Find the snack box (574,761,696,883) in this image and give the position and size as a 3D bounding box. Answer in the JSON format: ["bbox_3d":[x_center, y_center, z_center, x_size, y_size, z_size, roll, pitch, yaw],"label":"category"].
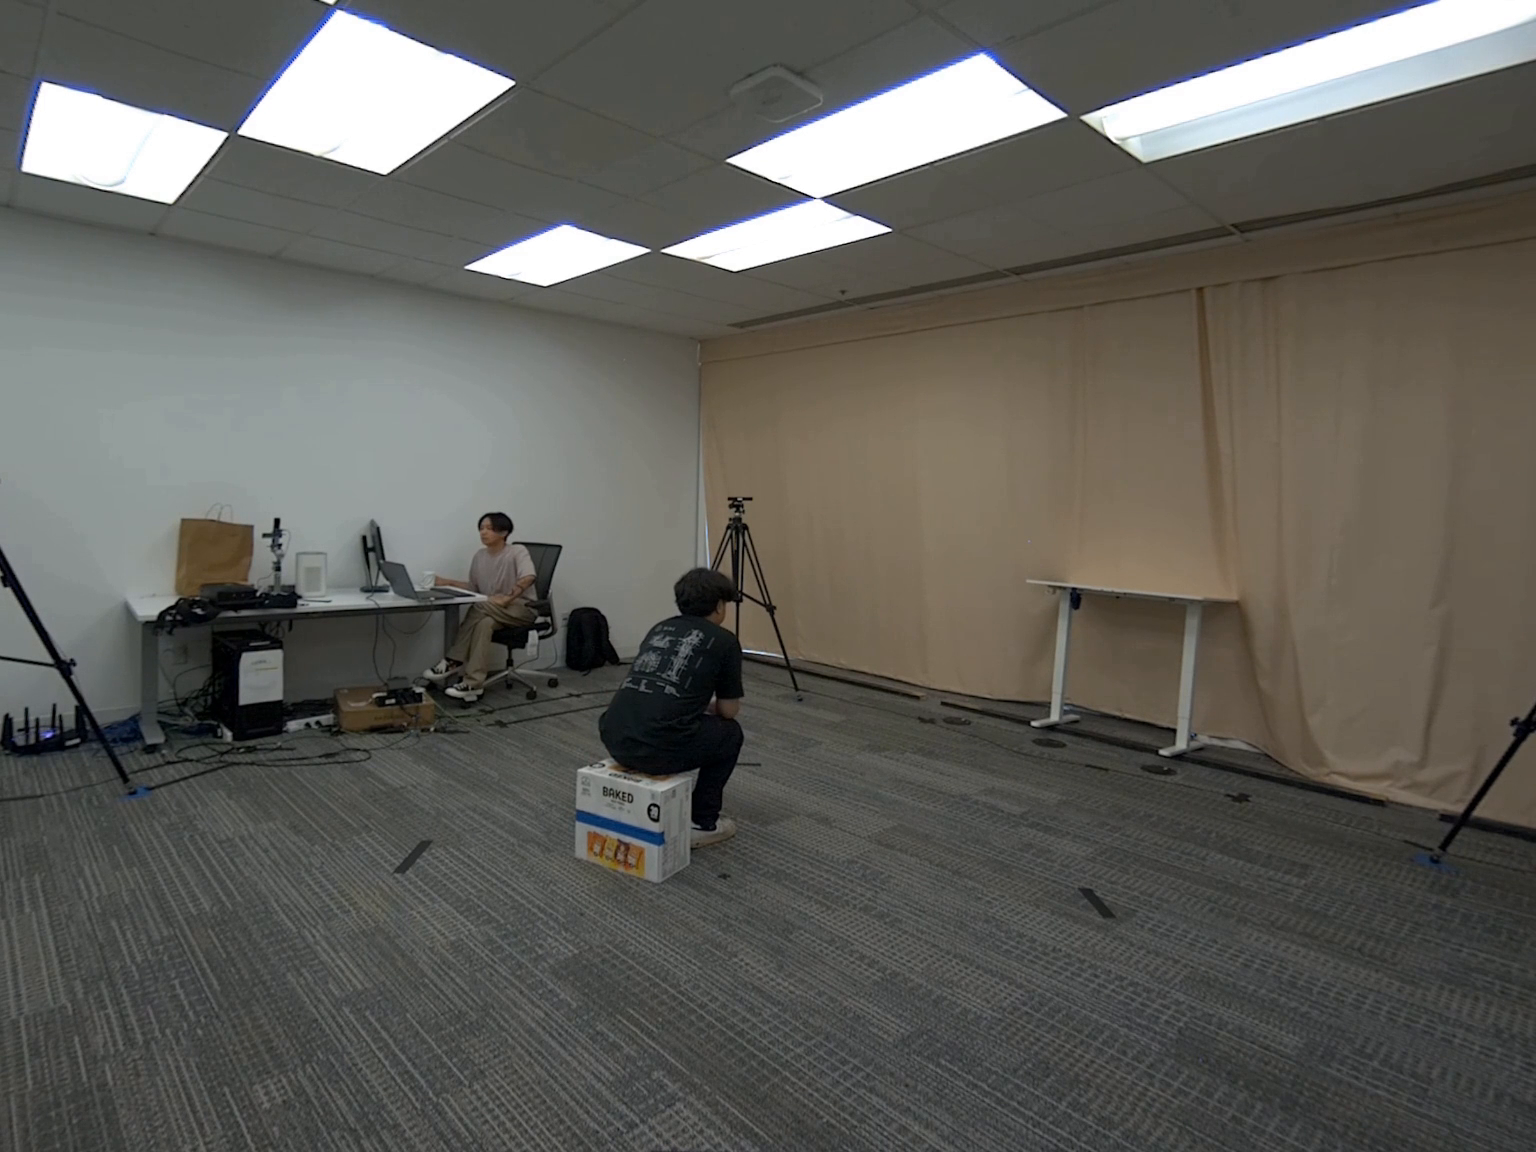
[{"bbox_3d":[-0.524,0.922,3.209,0.414,0.339,0.202,5,5,31],"label":"snack box"}]
